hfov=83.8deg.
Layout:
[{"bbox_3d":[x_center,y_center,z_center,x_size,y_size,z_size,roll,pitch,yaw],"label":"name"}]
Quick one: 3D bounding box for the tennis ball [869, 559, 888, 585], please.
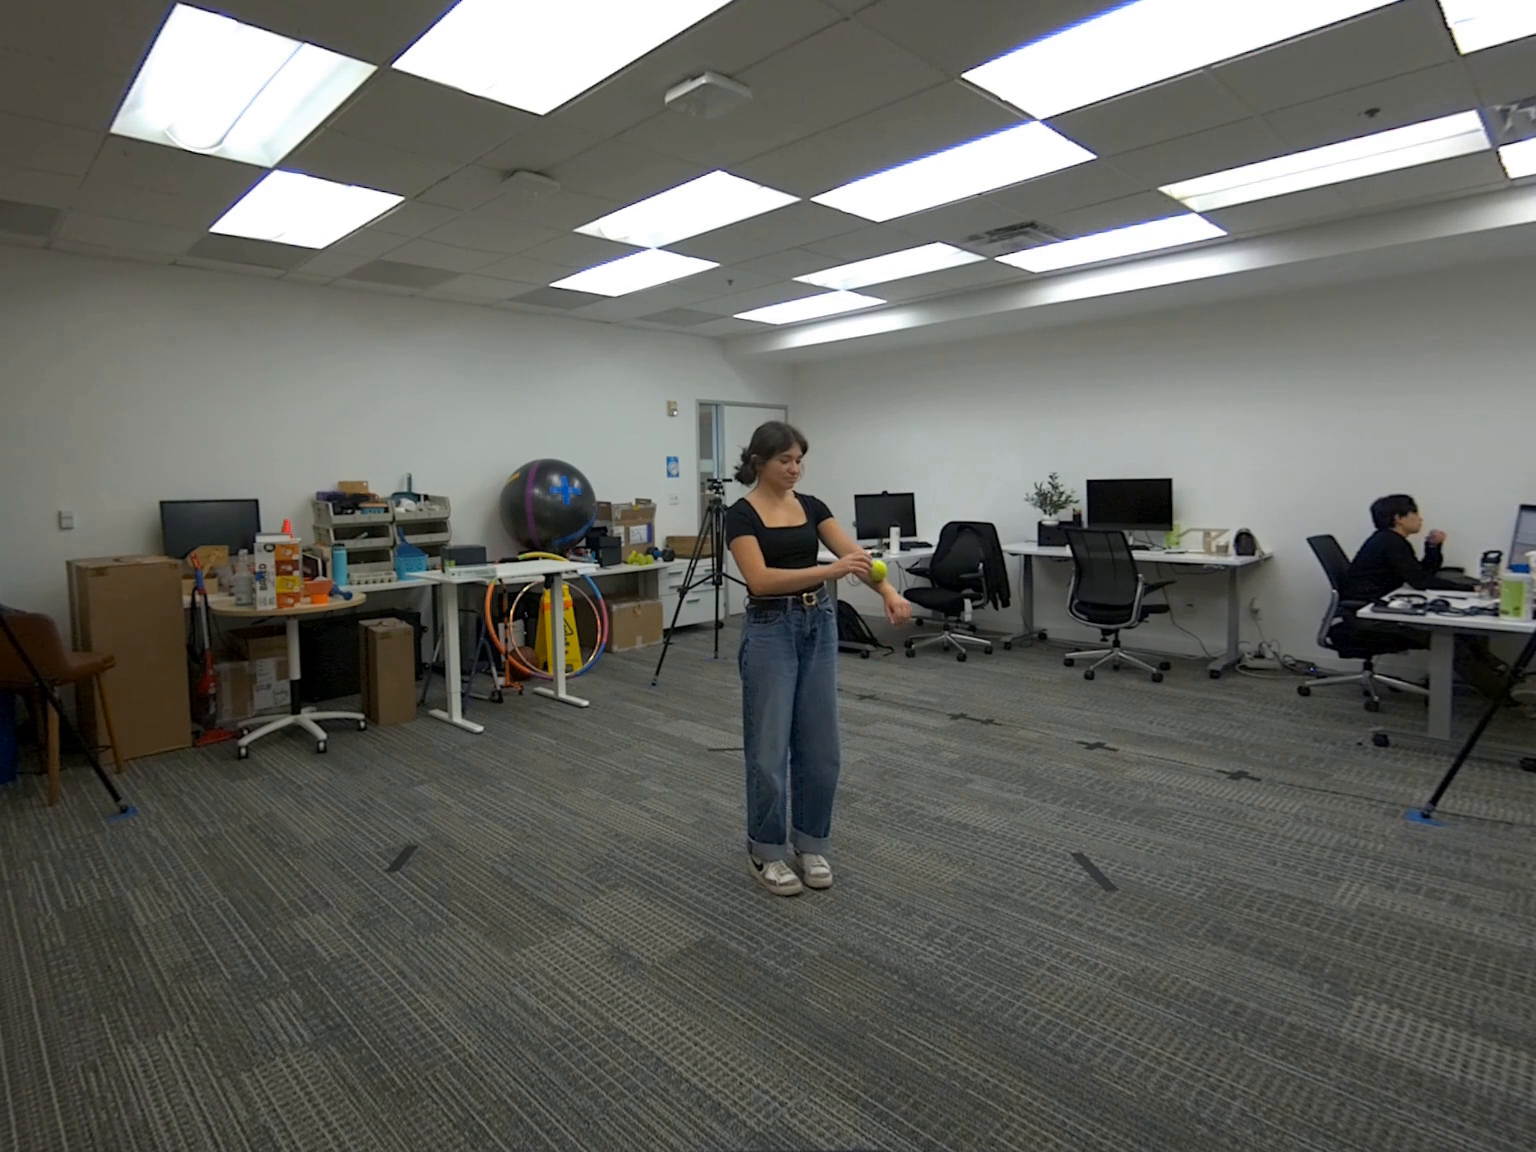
[{"bbox_3d":[0.335,-0.012,2.748,0.066,0.066,0.067,-1,5,-2],"label":"tennis ball"}]
